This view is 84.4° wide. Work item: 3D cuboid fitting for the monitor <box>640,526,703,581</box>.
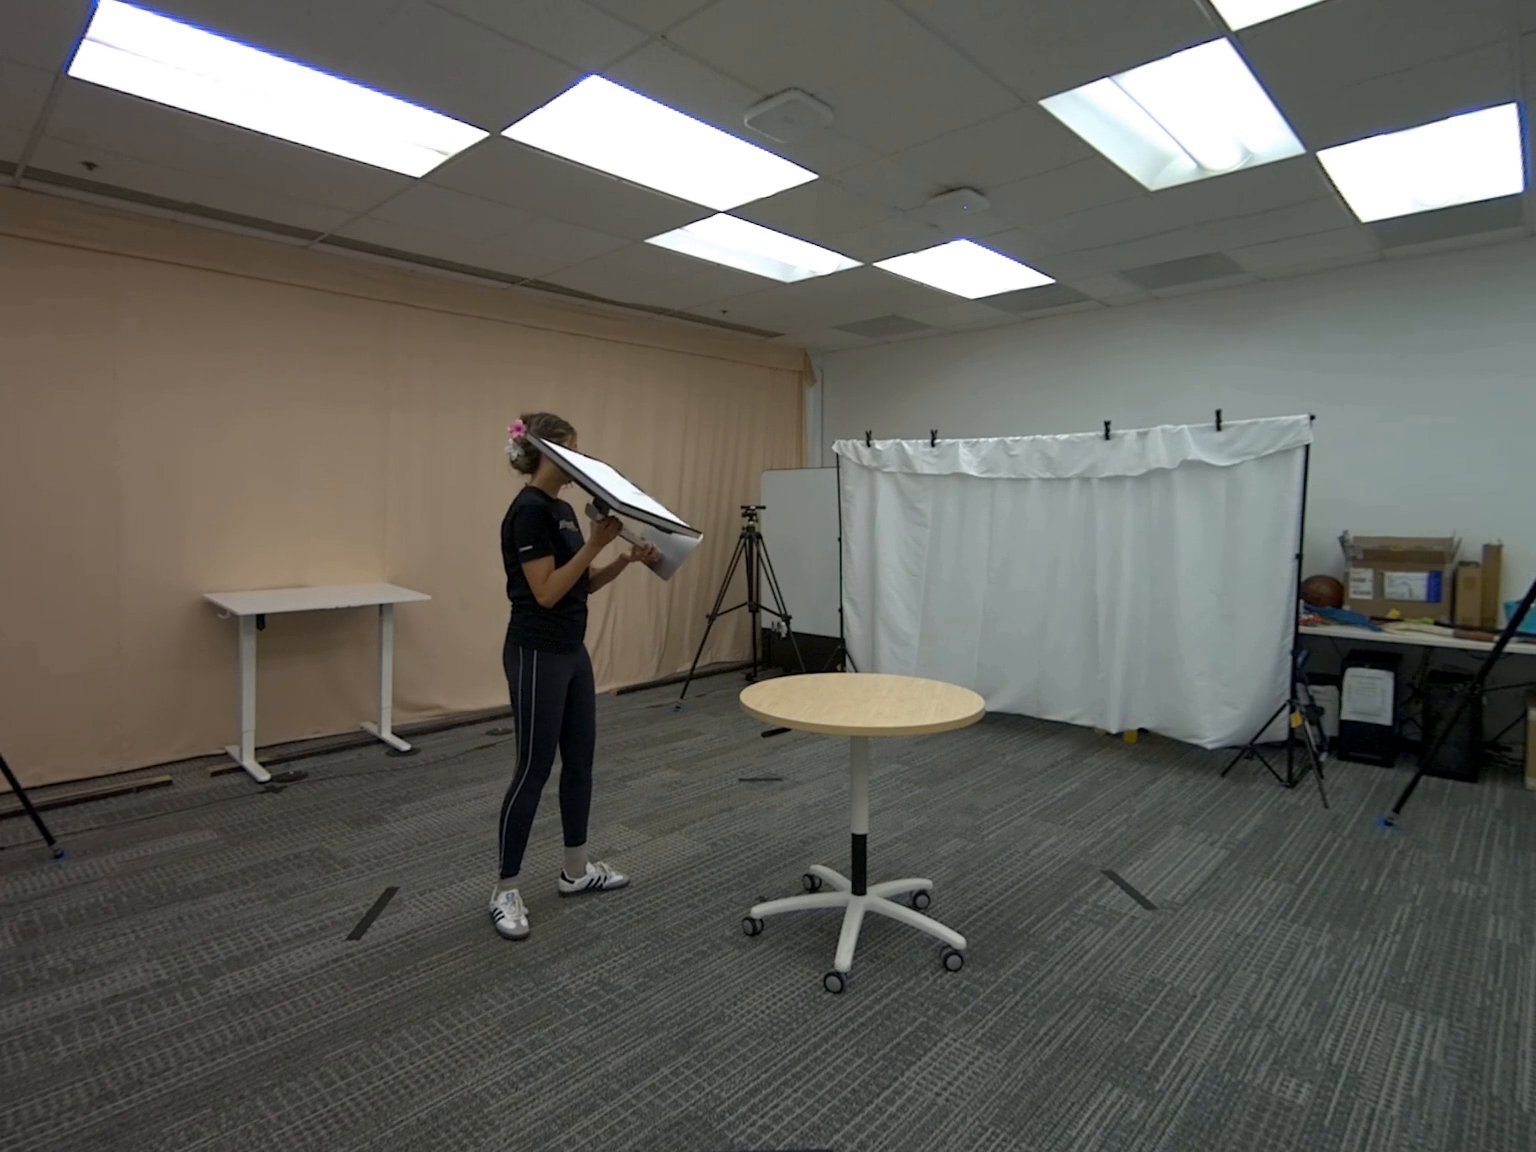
[{"bbox_3d":[-0.466,-0.224,2.738,0.559,0.187,0.504,33,-6,39],"label":"monitor"}]
